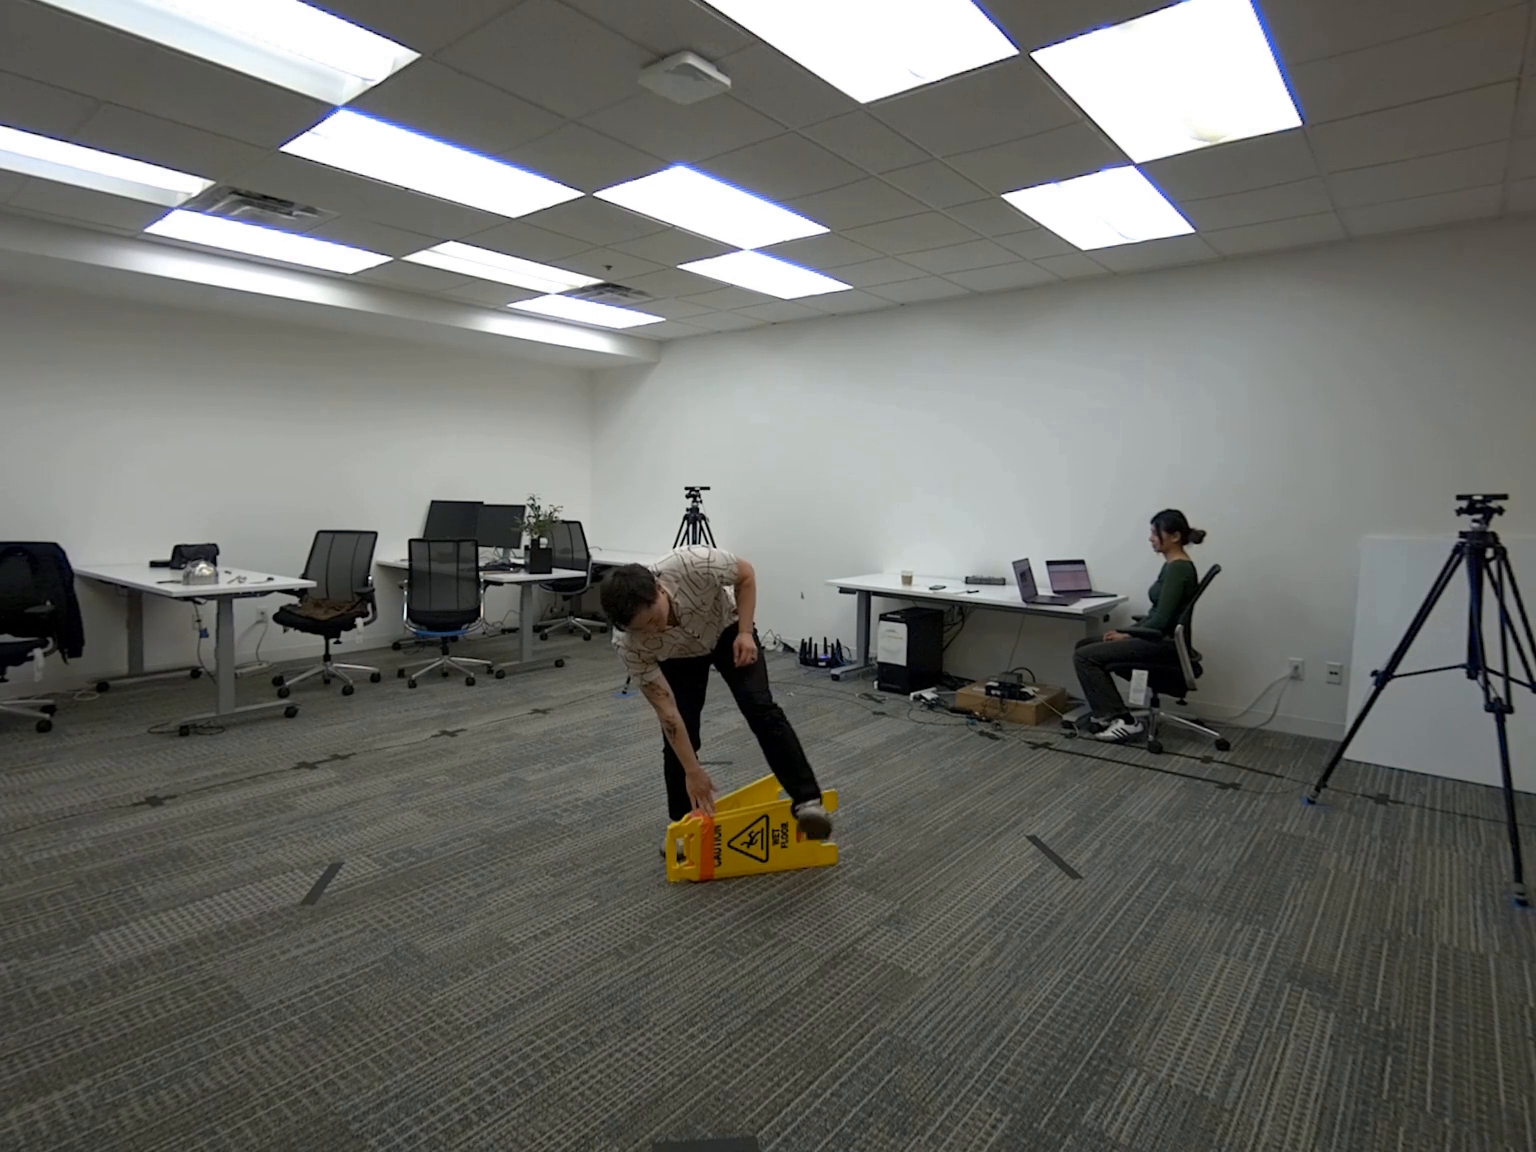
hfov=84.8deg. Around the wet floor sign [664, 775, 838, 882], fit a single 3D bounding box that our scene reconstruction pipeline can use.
[{"bbox_3d":[-0.096,0.936,3.113,0.628,0.281,0.299,-5,6,-35],"label":"wet floor sign"}]
